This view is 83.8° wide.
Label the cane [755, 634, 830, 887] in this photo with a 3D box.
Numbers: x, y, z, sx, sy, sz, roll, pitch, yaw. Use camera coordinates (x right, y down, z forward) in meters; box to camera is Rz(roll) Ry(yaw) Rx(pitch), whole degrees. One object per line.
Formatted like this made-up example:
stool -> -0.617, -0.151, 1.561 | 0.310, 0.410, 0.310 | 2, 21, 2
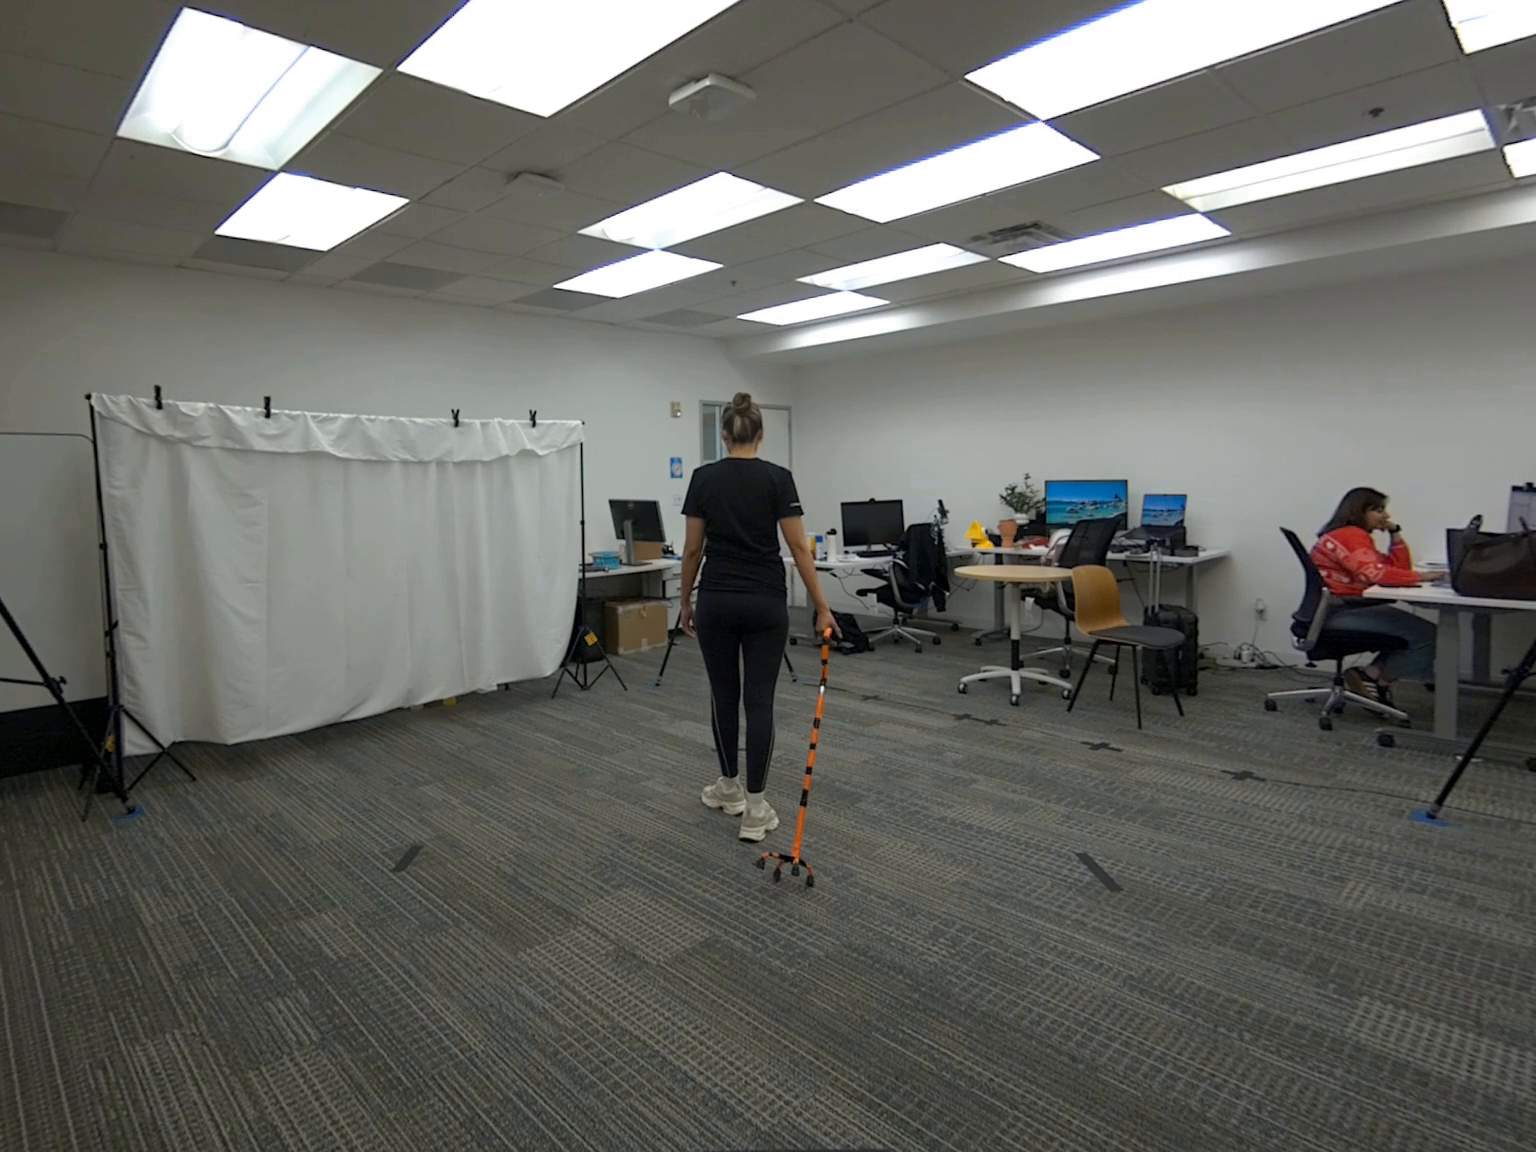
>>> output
cane -> 0.147, 0.611, 3.081 | 0.155, 0.922, 0.199 | 0, -28, 23
